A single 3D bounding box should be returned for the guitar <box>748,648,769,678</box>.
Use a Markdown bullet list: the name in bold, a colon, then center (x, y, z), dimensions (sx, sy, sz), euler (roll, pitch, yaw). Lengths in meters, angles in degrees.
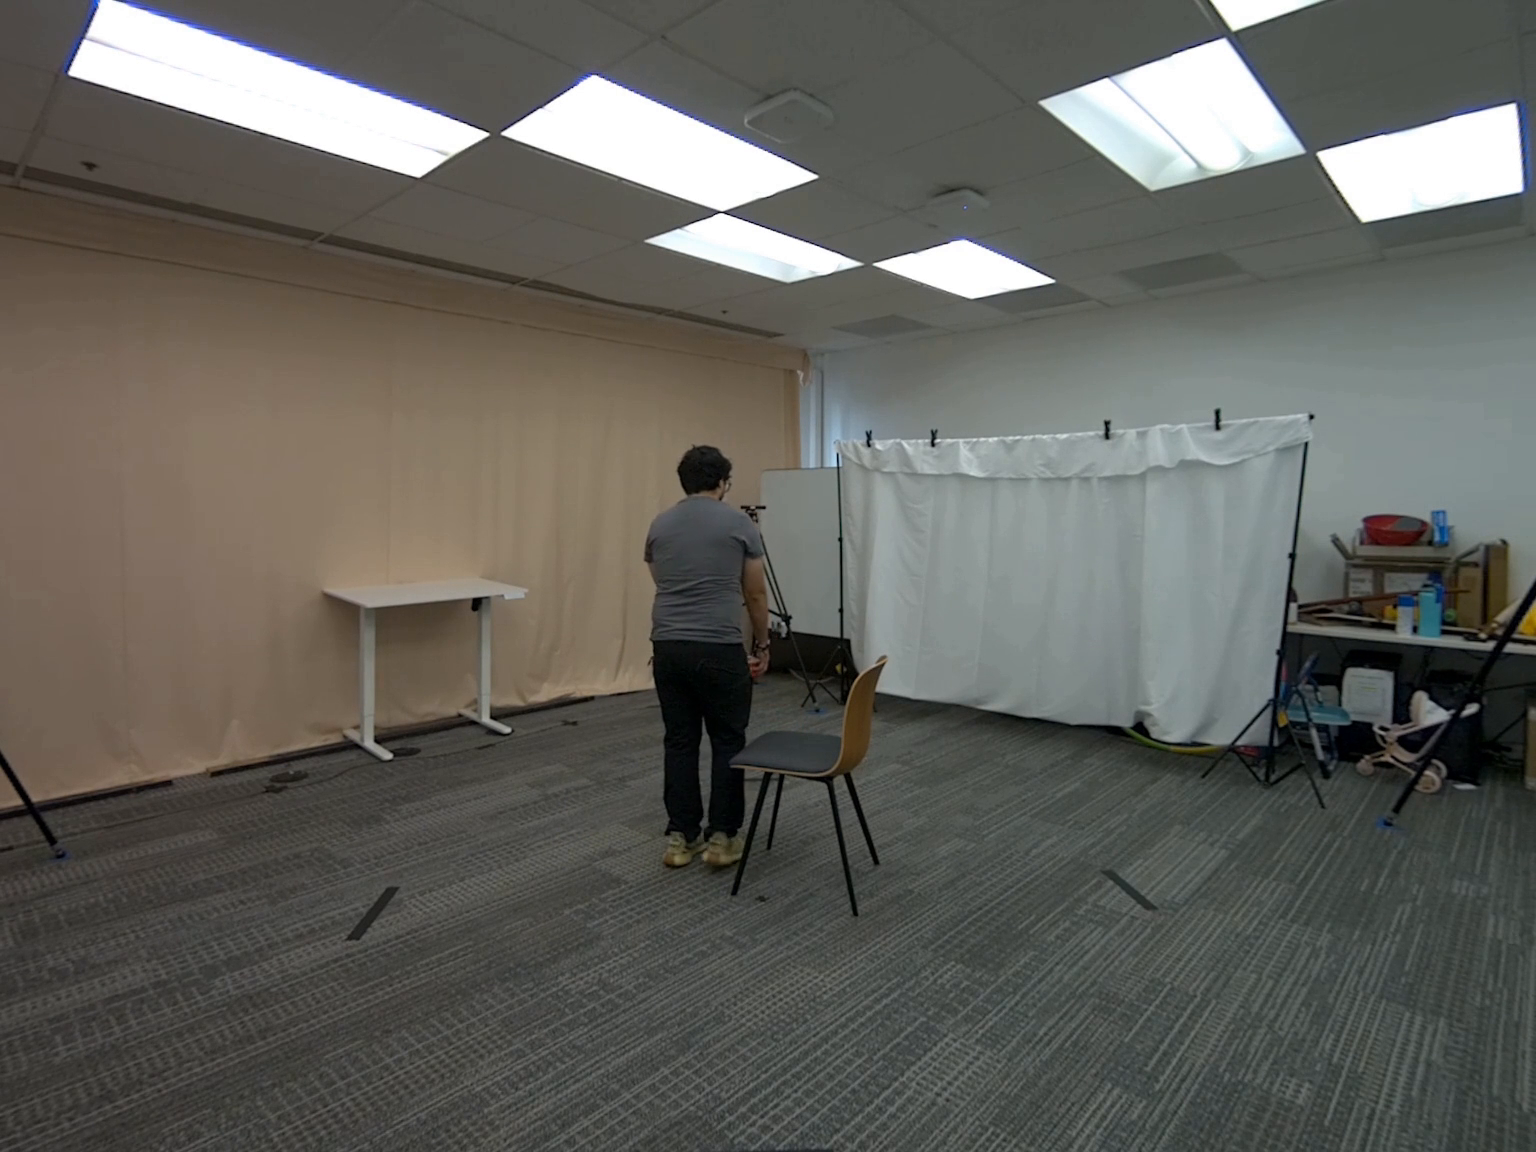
- **guitar**: center (-0.235, 0.344, 3.661), dimensions (0.187, 0.070, 0.516), euler (3, 8, -41)
